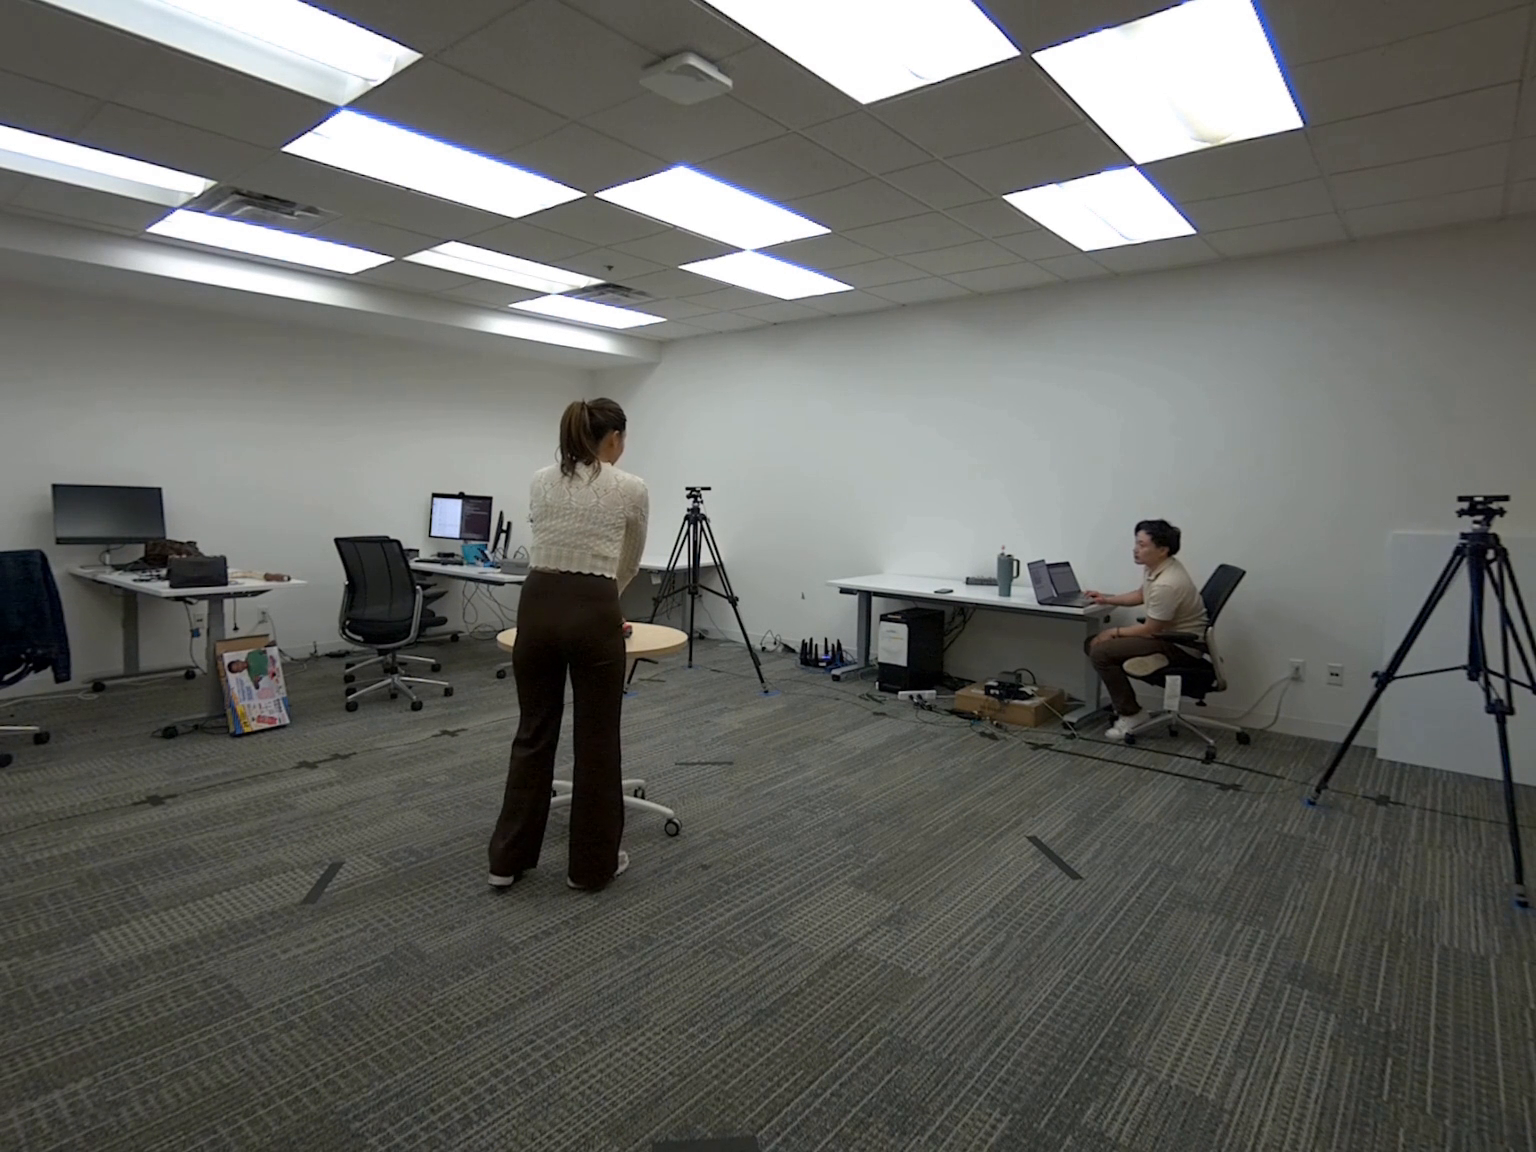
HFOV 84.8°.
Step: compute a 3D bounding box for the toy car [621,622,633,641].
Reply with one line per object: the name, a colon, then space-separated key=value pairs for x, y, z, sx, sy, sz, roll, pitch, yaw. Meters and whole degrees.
toy car: x=-0.677 y=0.215 z=3.390 sx=0.135 sy=0.083 sz=0.245 roll=5 pitch=-4 yaw=44
